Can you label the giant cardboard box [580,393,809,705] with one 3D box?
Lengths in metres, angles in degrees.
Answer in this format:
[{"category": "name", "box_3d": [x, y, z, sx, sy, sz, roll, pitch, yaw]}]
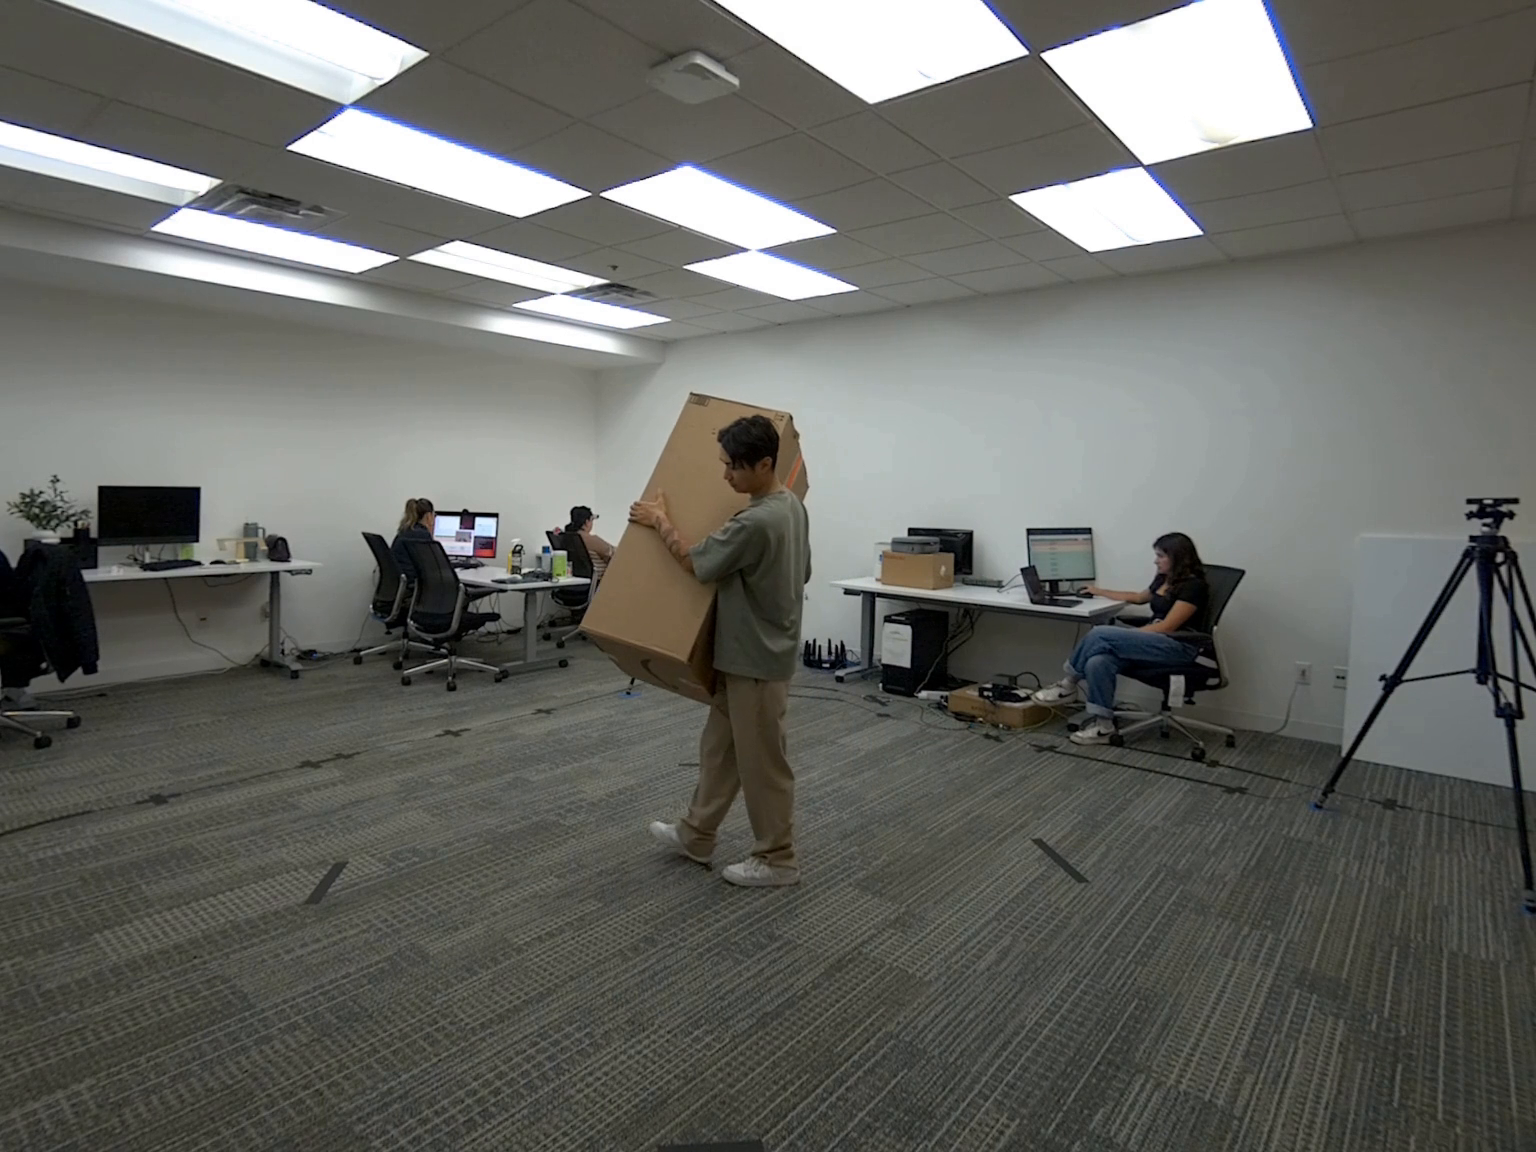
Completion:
[{"category": "giant cardboard box", "box_3d": [-0.255, -0.099, 3.293, 0.436, 1.035, 0.559, 15, -21, 17]}]
